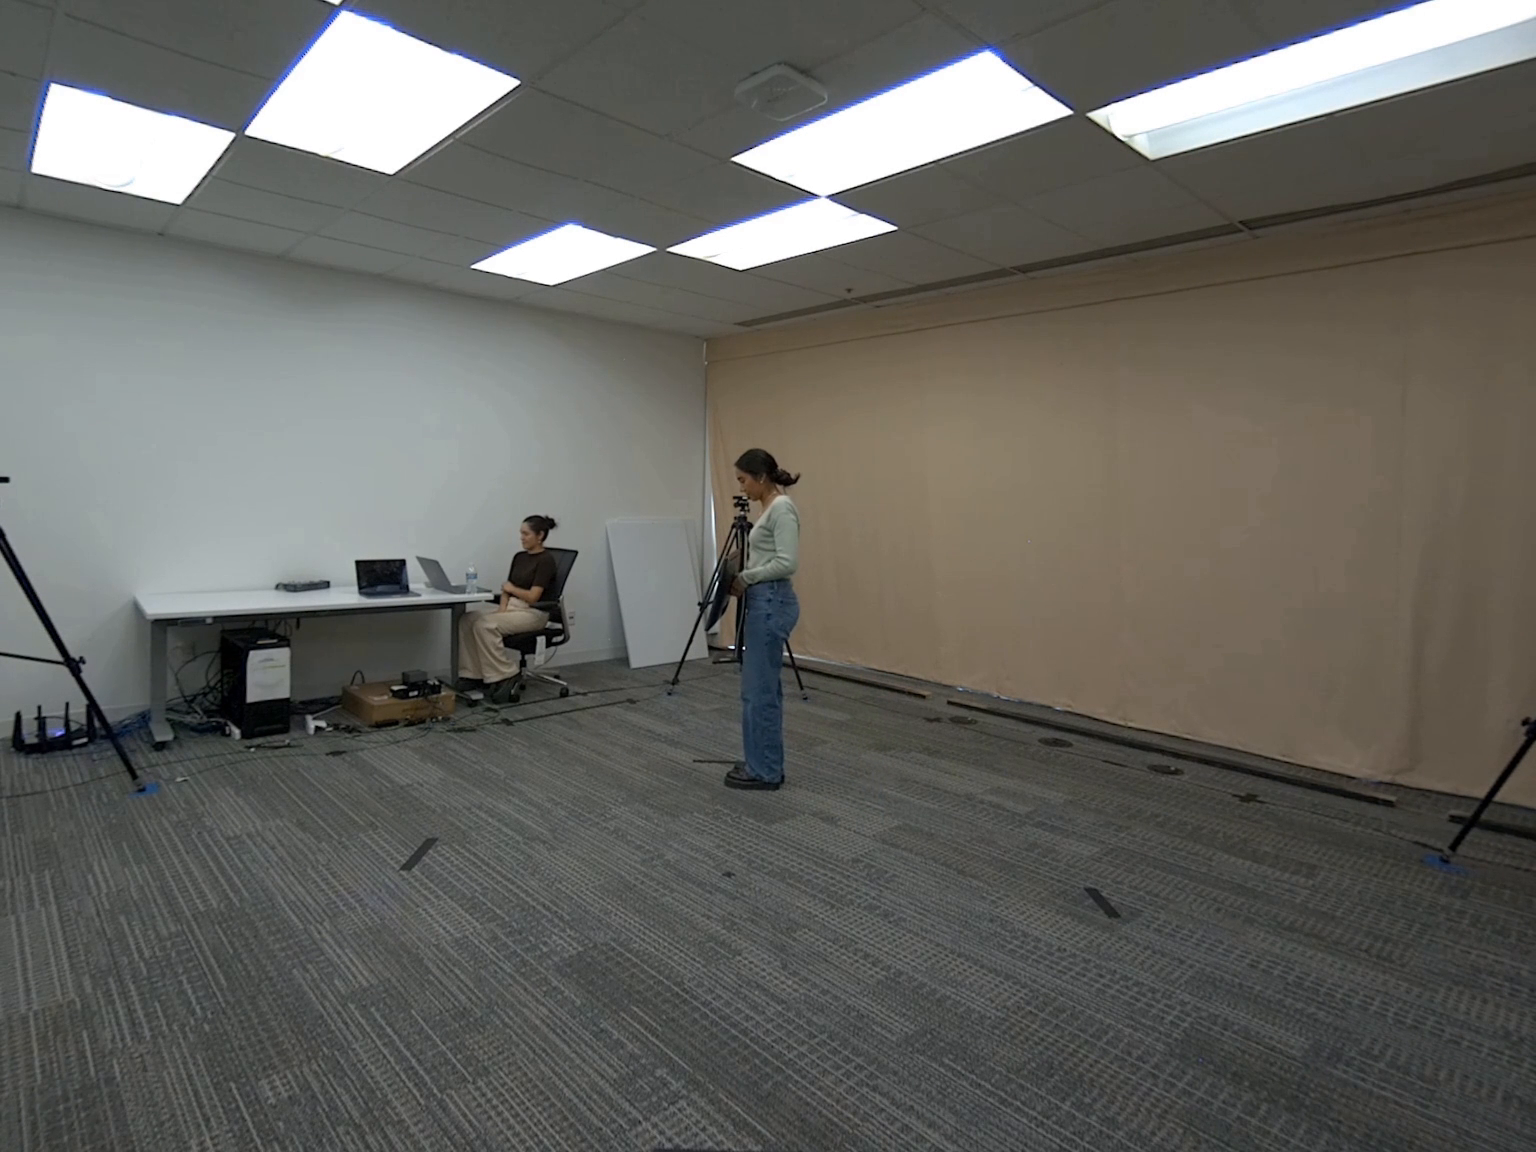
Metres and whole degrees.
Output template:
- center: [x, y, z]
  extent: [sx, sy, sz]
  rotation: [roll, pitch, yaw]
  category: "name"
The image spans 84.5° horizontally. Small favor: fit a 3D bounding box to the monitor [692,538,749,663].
- center: [-0.194, 0.140, 4.082]
  extent: [0.175, 0.514, 0.531]
  rotation: [-3, 6, 2]
  category: "monitor"
